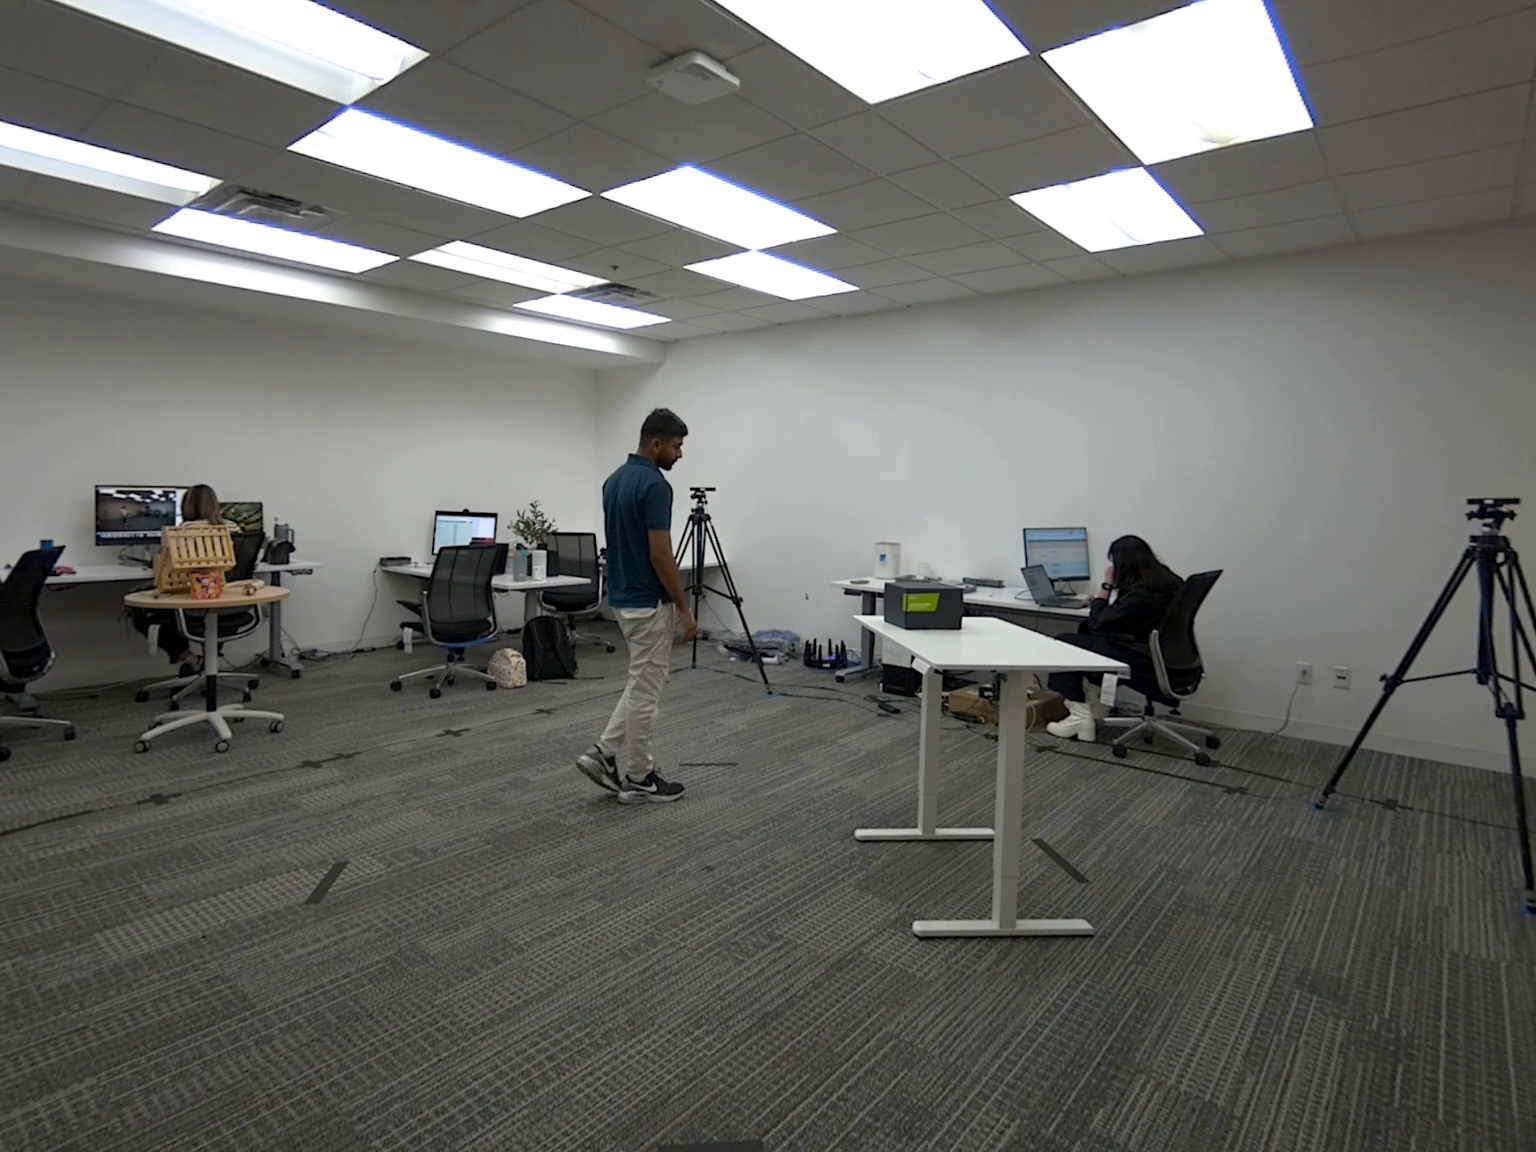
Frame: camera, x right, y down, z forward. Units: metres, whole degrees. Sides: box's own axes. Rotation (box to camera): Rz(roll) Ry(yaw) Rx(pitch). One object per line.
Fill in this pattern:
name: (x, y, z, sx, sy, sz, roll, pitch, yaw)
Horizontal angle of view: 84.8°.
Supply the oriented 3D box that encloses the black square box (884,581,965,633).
black square box: (0.597, 0.114, 3.246, 0.226, 0.155, 0.219, 3, 4, -8)
